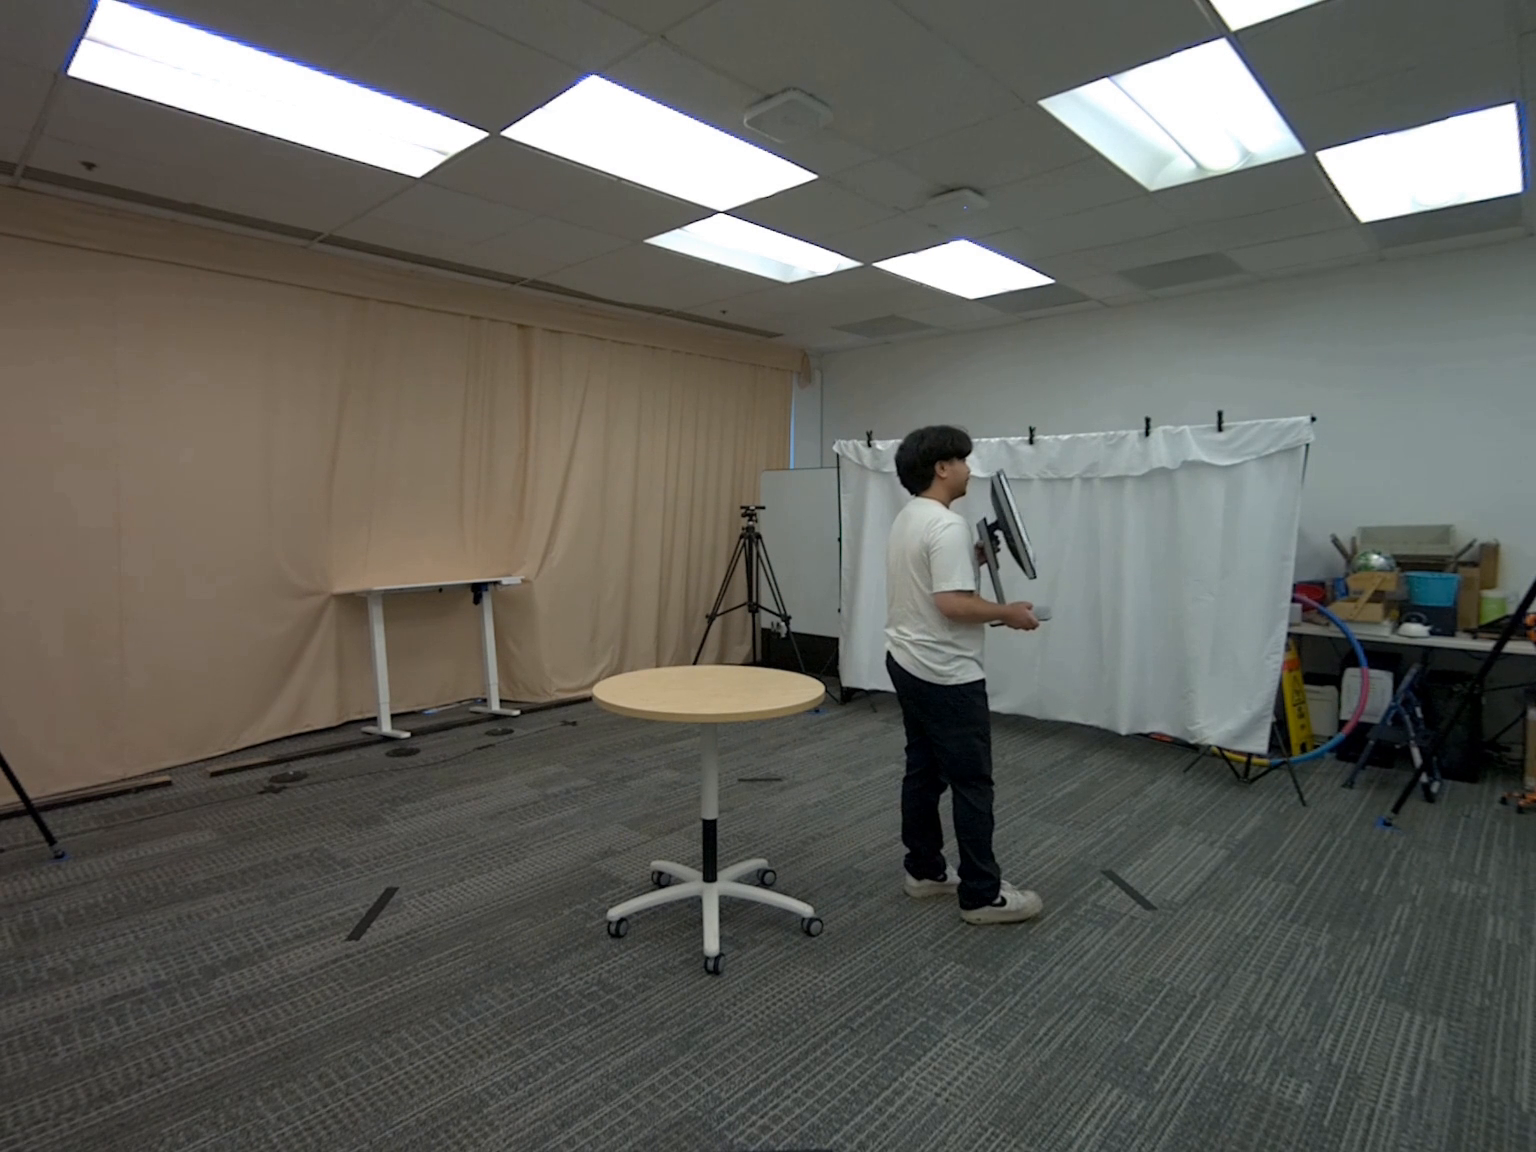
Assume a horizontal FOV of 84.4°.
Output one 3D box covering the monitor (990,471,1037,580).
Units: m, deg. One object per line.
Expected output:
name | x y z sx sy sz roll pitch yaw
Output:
monitor | 0.828 -0.098 2.967 0.214 0.553 0.557 -14 3 19
